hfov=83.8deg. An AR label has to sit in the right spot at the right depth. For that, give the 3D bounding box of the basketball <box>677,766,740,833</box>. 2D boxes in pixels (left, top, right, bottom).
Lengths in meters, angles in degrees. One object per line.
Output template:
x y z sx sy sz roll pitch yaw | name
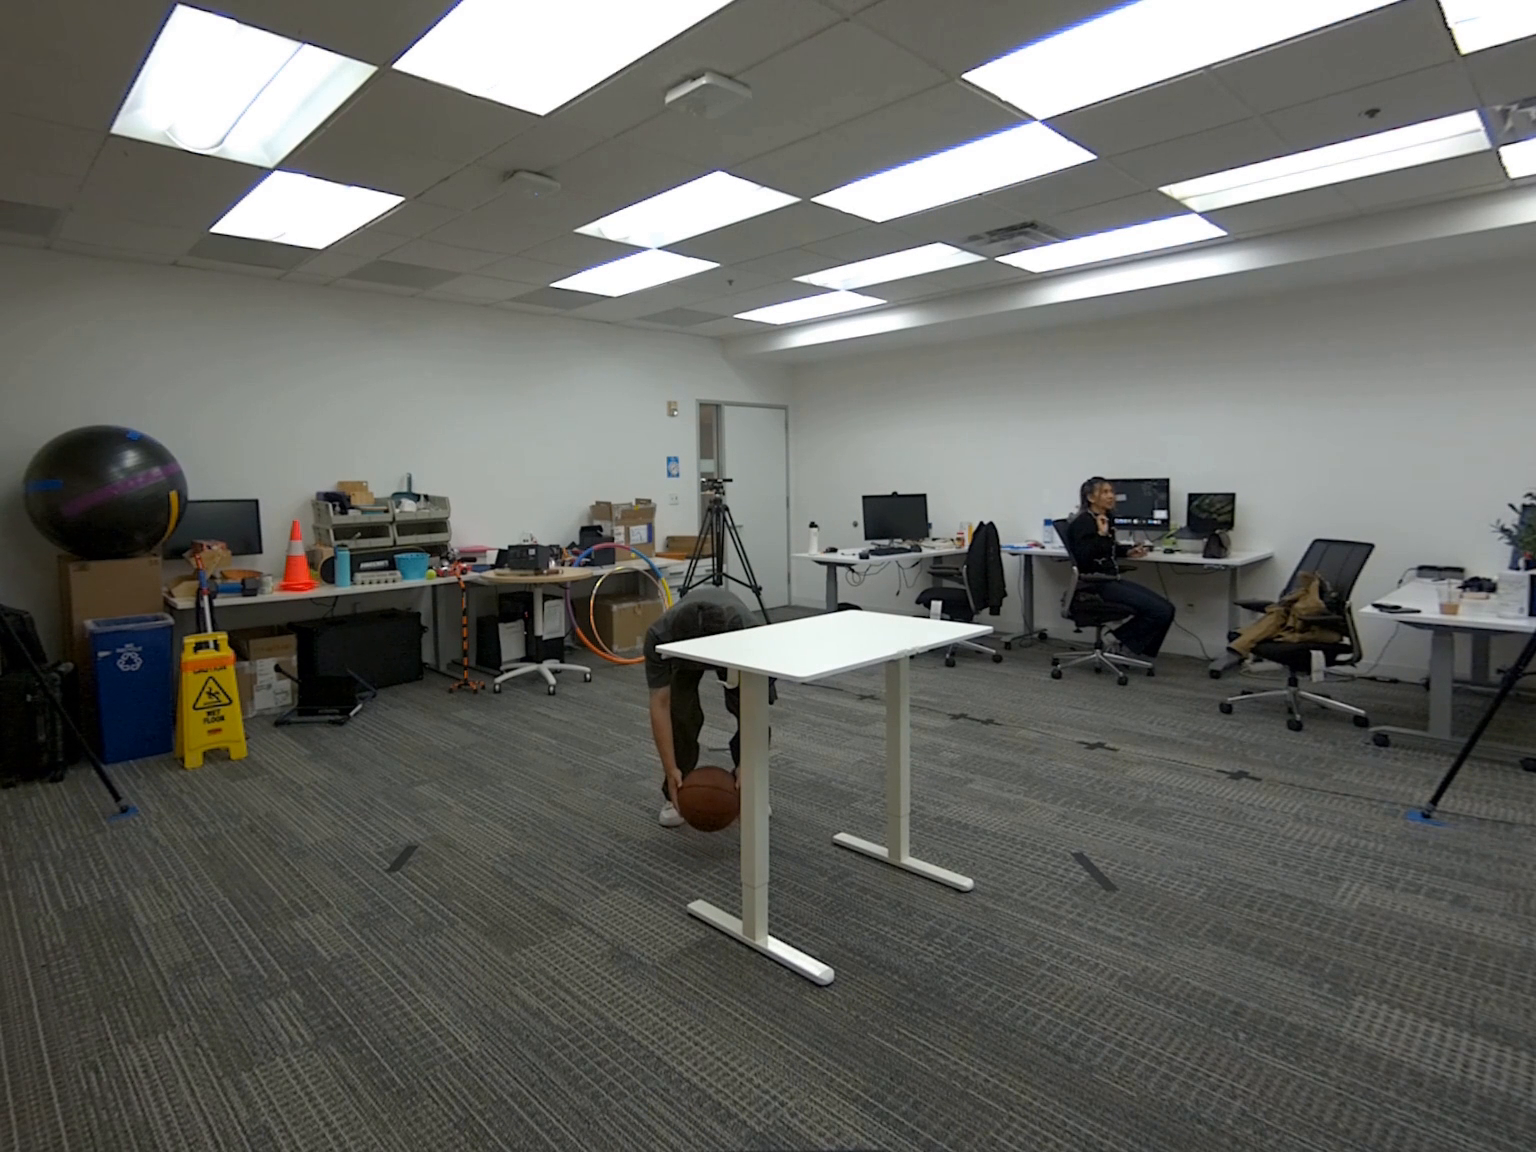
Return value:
-0.219 0.834 3.206 0.236 0.235 0.237 -1 5 -2 | basketball
